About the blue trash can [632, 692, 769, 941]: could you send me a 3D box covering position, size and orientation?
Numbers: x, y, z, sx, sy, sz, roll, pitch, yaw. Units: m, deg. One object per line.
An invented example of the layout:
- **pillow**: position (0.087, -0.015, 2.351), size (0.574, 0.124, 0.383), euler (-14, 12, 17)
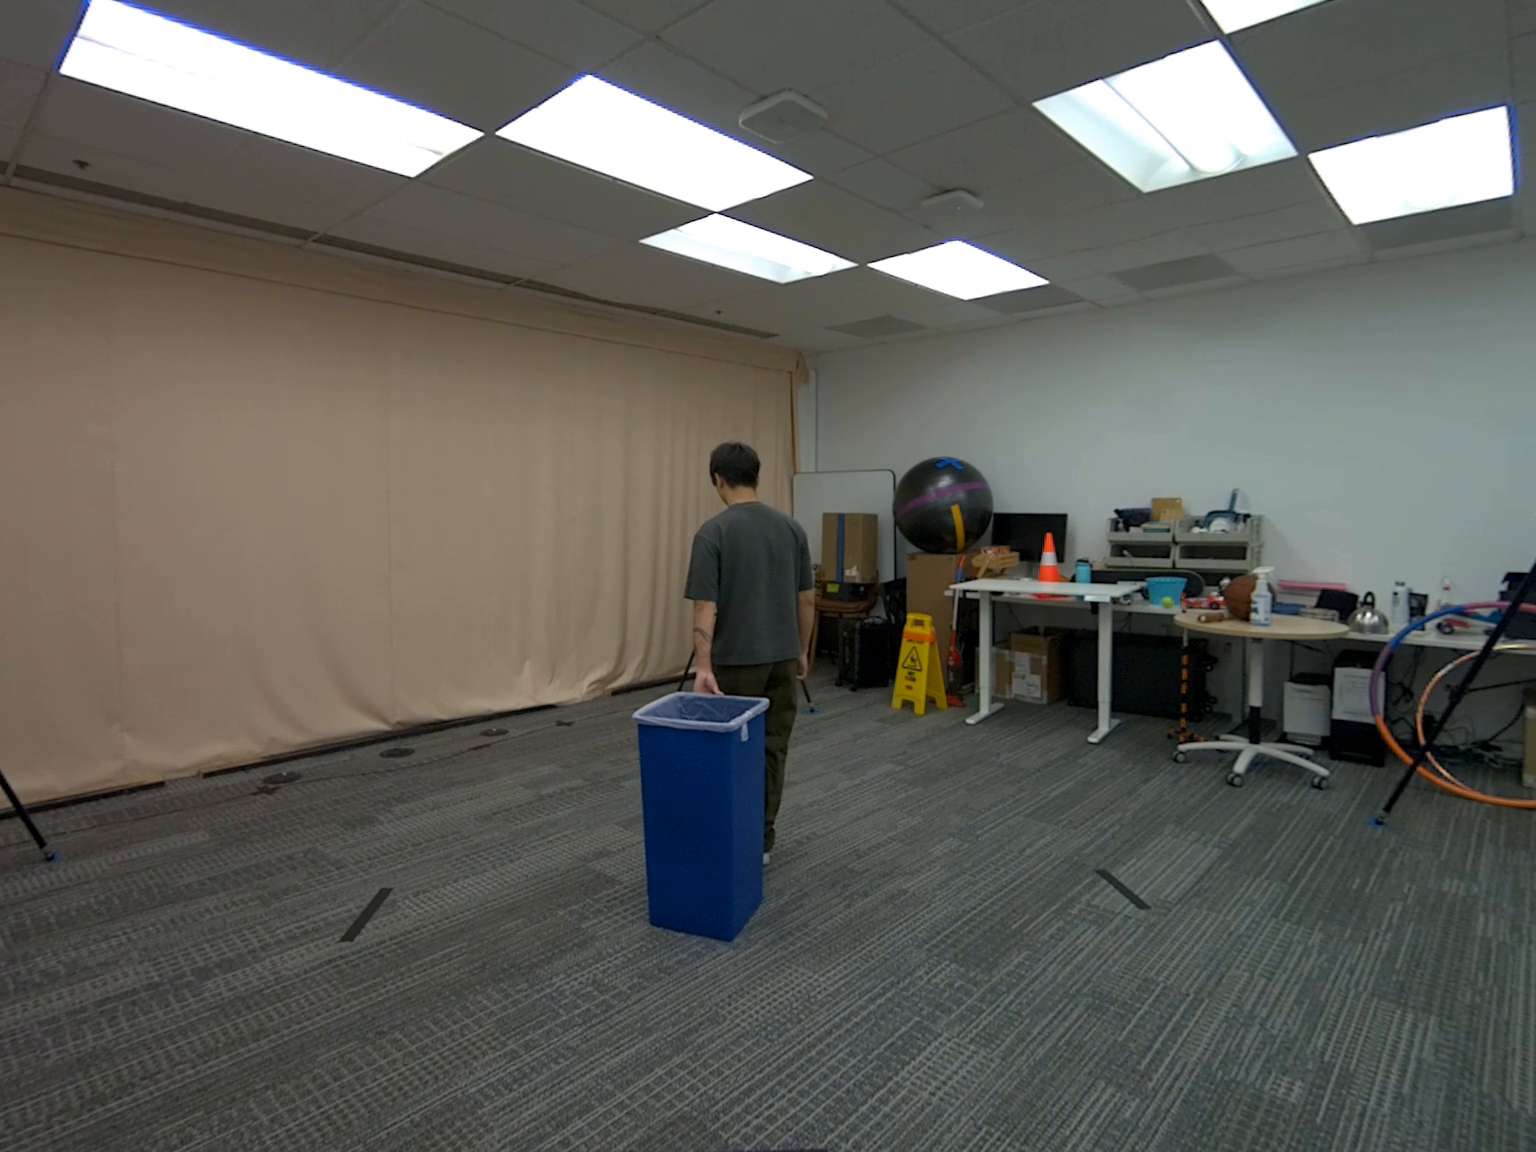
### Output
- **blue trash can**: position (-0.219, 0.796, 2.862), size (0.382, 0.712, 0.371), euler (1, 3, 20)
